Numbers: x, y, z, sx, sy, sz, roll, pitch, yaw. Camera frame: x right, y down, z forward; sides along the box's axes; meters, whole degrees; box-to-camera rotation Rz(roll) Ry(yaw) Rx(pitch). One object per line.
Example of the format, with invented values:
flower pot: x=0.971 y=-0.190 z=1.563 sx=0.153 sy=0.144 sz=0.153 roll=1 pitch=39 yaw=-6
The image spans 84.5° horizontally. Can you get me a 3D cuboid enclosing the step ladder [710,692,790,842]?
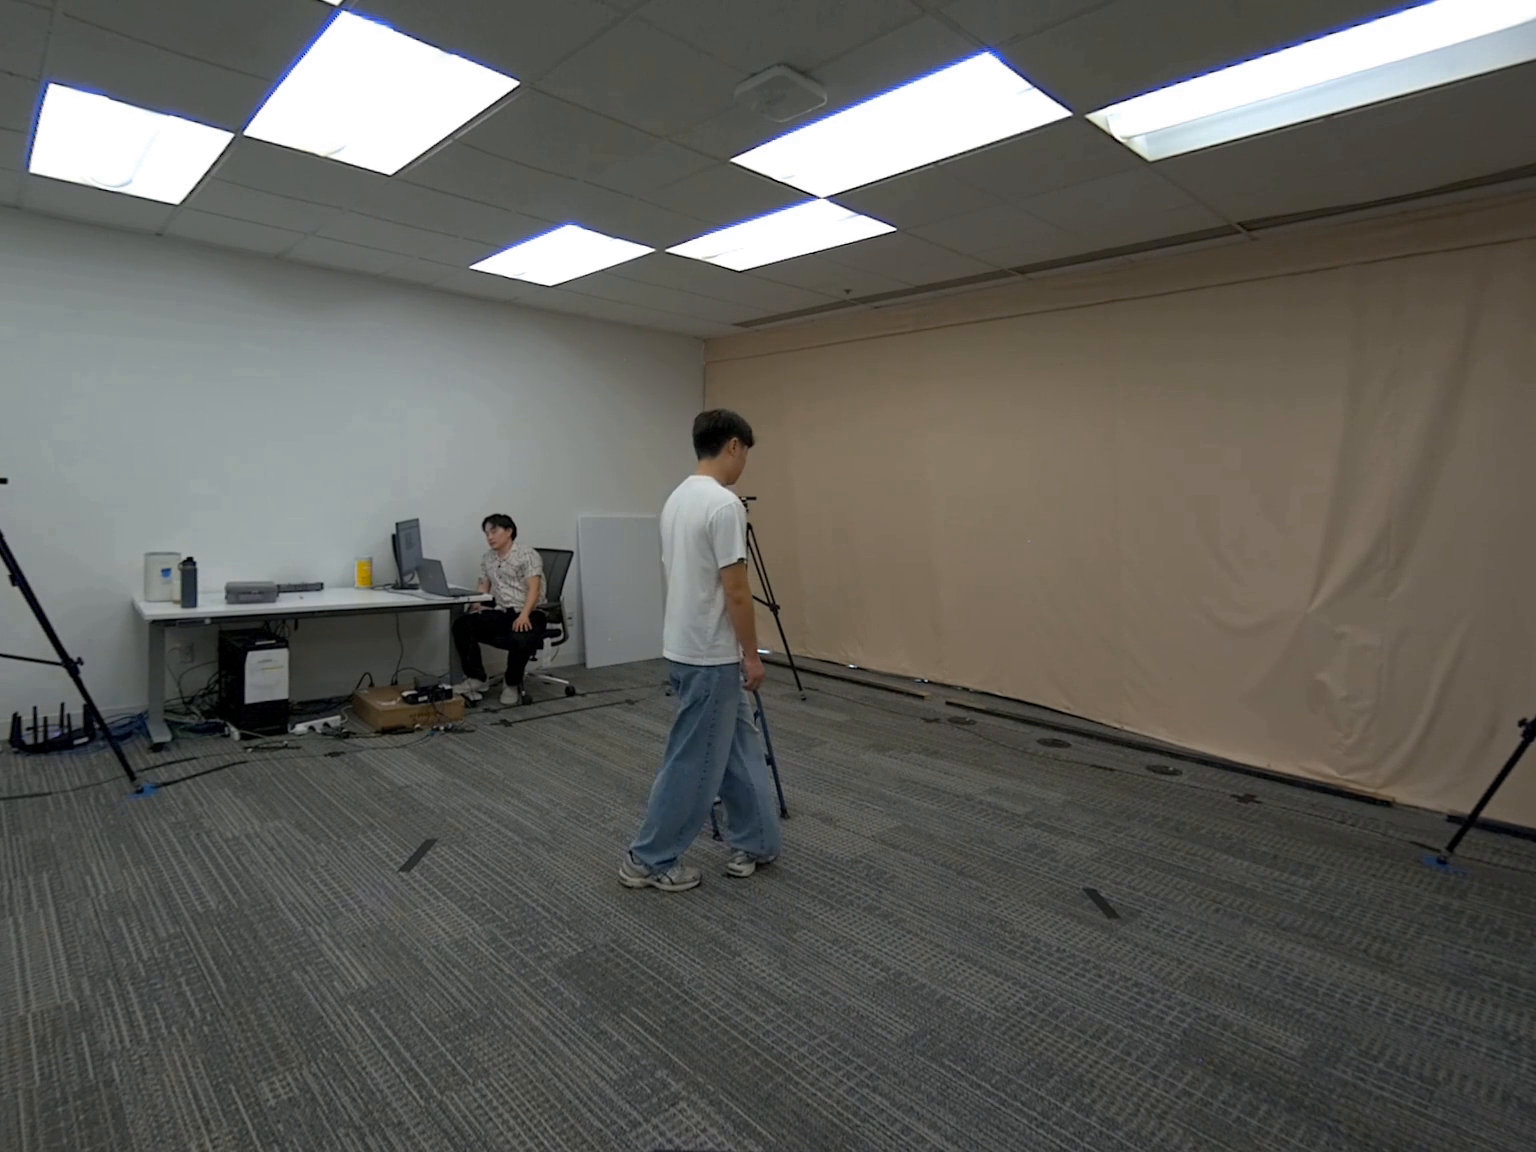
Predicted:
step ladder: x=-0.168 y=0.757 z=3.673 sx=0.420 sy=0.605 sz=0.358 roll=-1 pitch=4 yaw=-44
